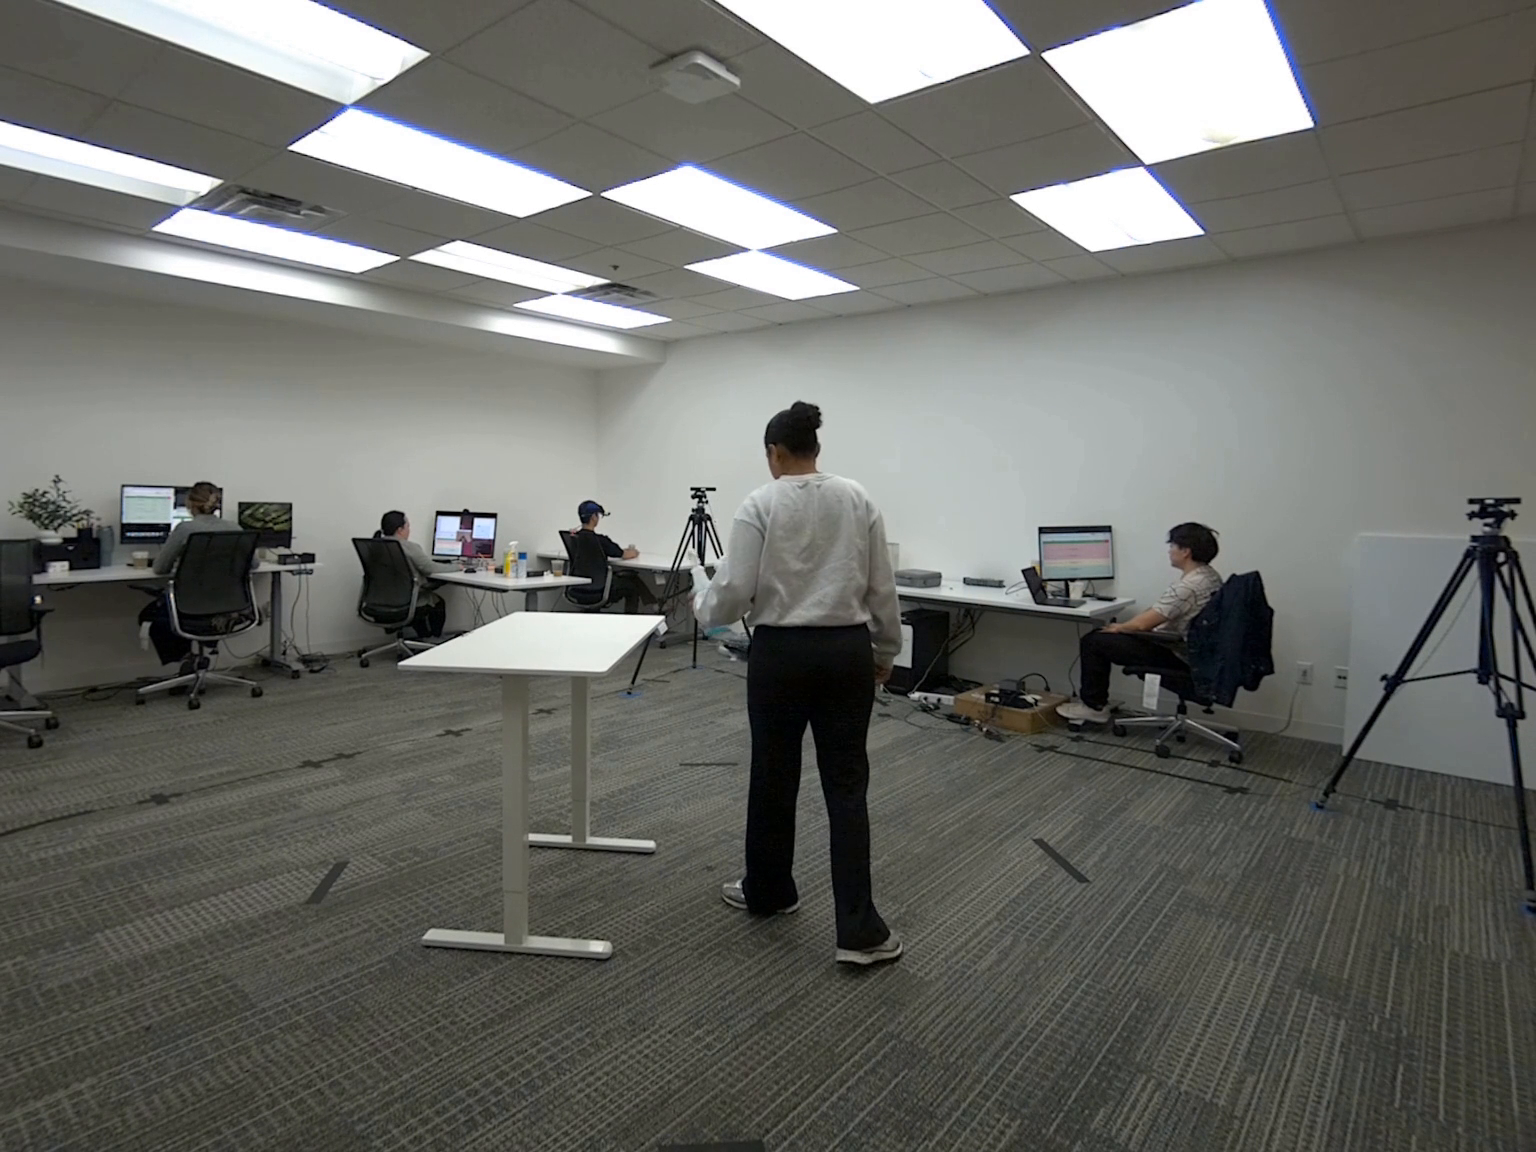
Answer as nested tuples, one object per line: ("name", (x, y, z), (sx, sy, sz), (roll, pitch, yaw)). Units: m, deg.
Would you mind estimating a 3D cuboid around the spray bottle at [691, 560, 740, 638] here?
("spray bottle", (-0.223, 0.051, 2.872), (0.089, 0.297, 0.088), (-16, 2, 27))
